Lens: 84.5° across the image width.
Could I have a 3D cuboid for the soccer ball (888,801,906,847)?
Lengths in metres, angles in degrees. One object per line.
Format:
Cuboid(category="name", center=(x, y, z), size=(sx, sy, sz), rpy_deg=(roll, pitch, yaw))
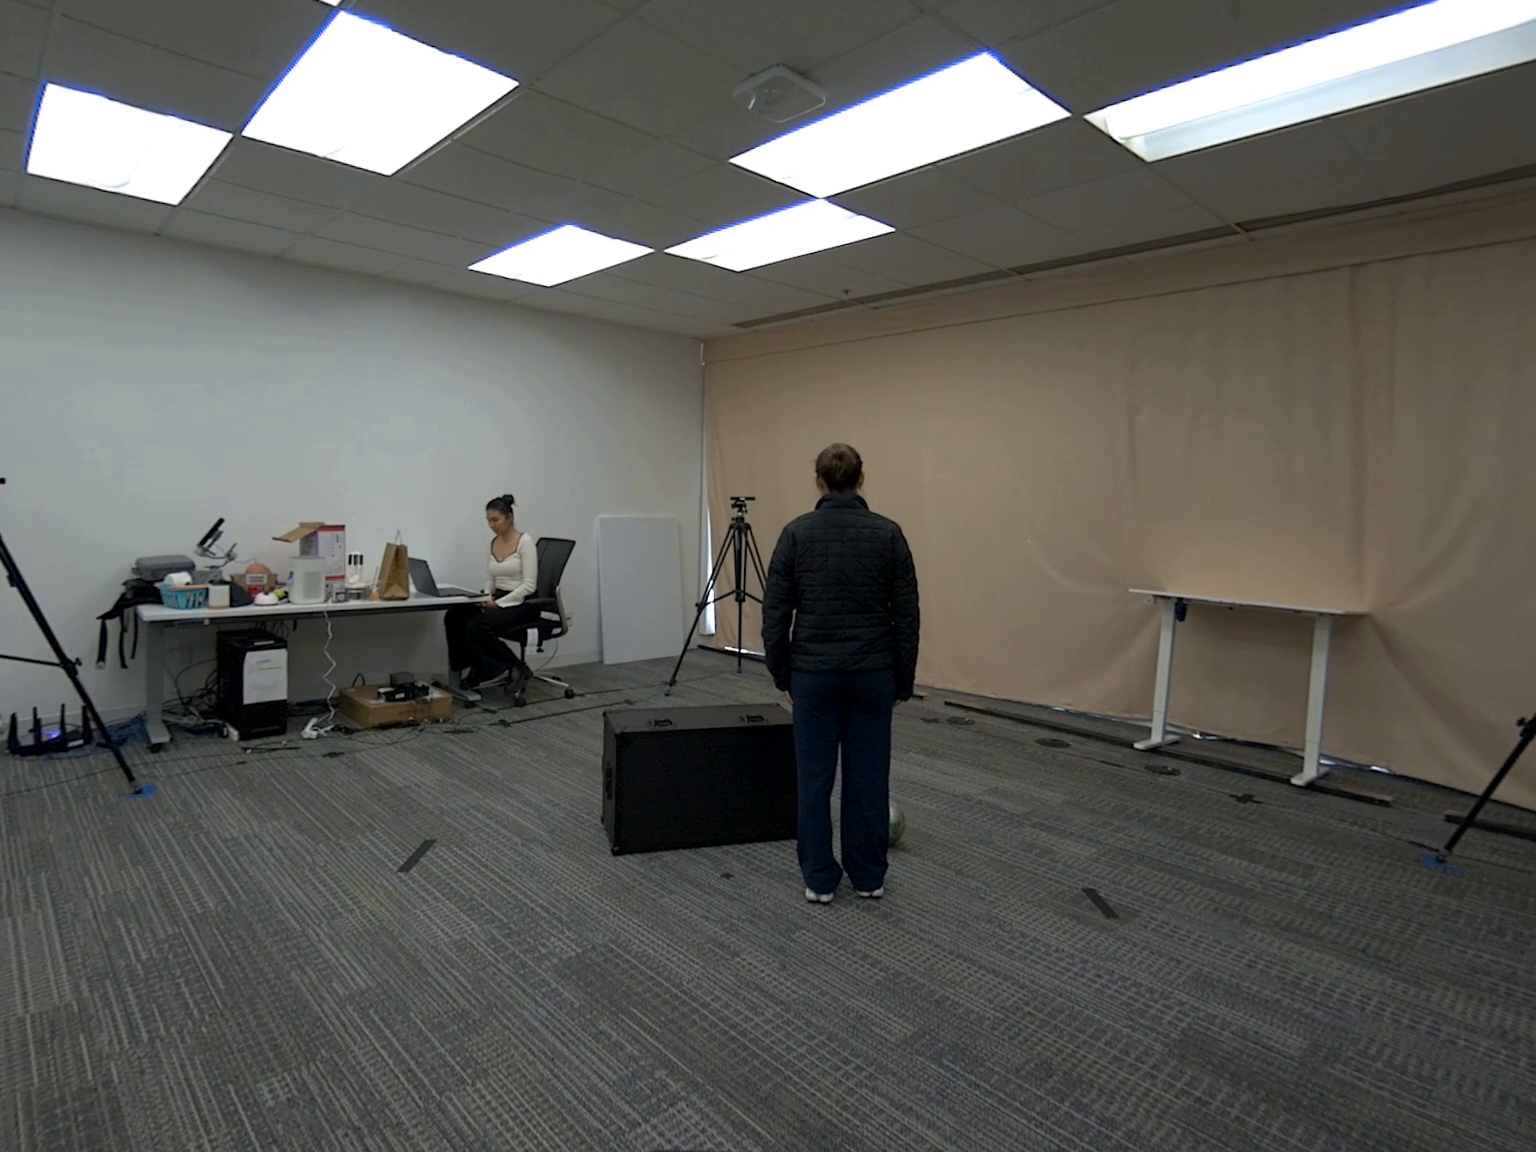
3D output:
Cuboid(category="soccer ball", center=(0.455, 1.002, 3.426), size=(0.187, 0.187, 0.188), rpy_deg=(1, 4, -1))
